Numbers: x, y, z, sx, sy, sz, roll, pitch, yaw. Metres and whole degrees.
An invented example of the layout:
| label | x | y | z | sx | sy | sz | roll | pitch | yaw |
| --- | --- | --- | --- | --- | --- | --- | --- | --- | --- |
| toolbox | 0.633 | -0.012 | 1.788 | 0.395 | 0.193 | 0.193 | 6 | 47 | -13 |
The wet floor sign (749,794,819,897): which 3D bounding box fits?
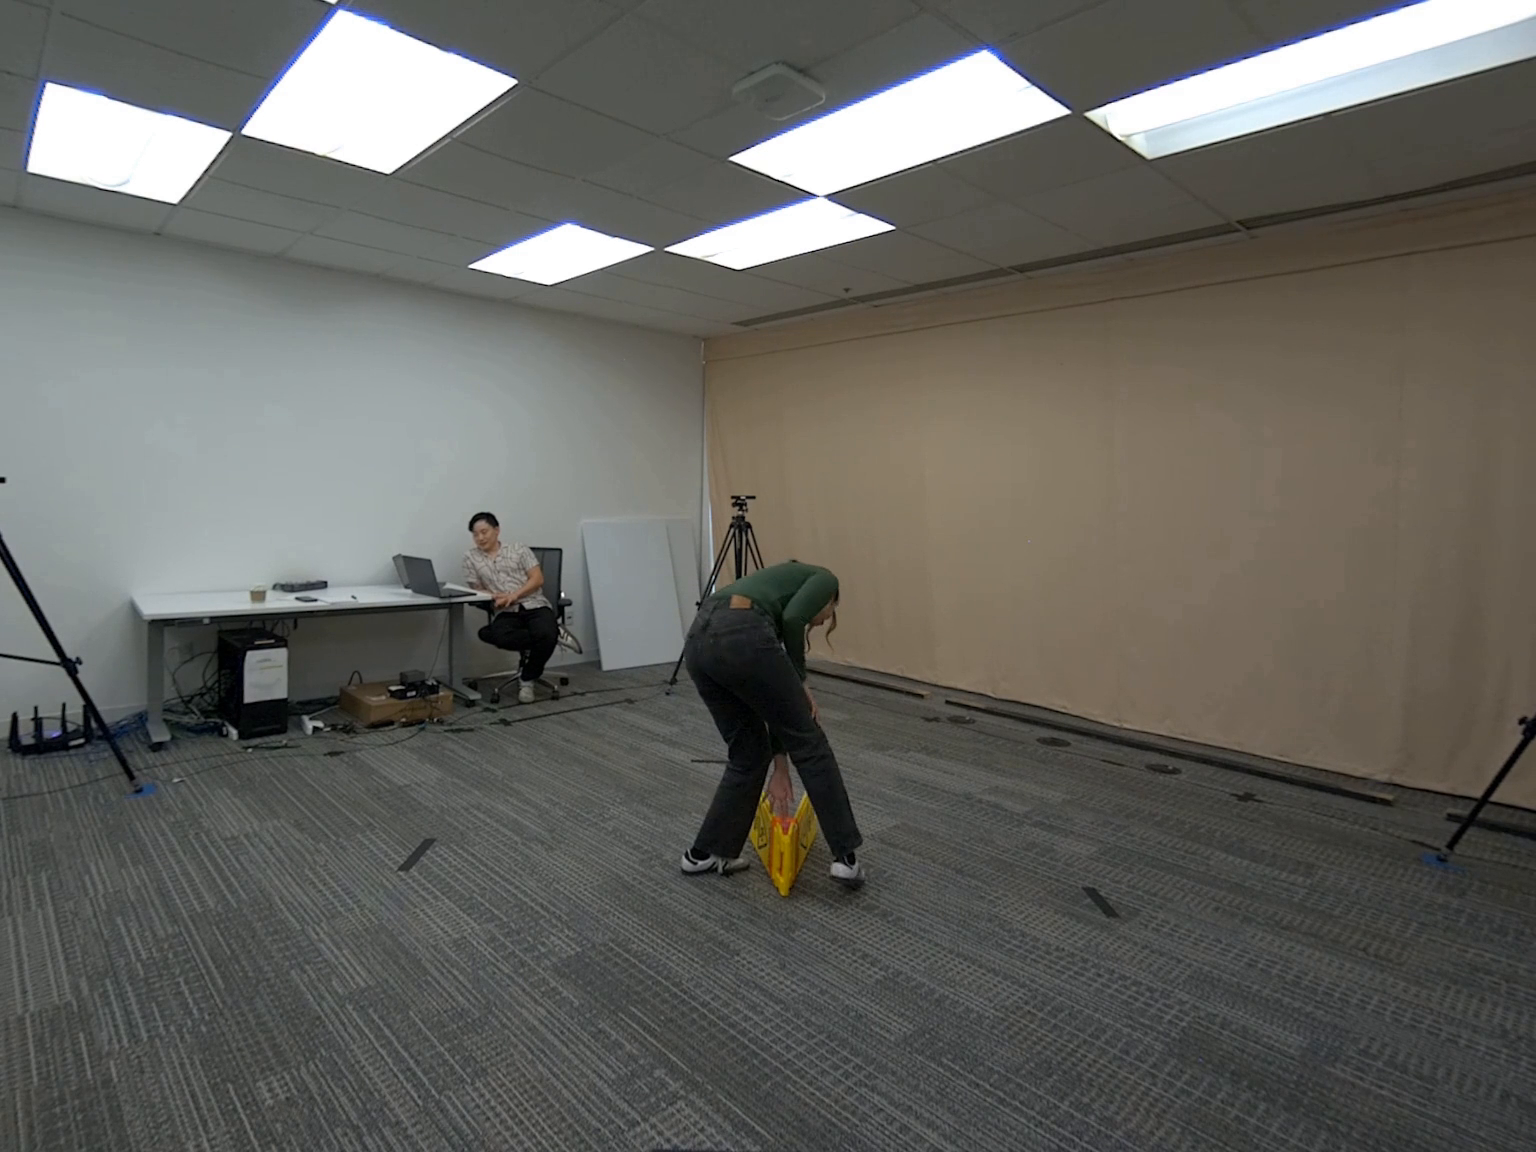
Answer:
| label | x | y | z | sx | sy | sz | roll | pitch | yaw |
| --- | --- | --- | --- | --- | --- | --- | --- | --- | --- |
| wet floor sign | 0.053 | 0.963 | 3.200 | 0.290 | 0.281 | 0.649 | 1 | 7 | 0 |
